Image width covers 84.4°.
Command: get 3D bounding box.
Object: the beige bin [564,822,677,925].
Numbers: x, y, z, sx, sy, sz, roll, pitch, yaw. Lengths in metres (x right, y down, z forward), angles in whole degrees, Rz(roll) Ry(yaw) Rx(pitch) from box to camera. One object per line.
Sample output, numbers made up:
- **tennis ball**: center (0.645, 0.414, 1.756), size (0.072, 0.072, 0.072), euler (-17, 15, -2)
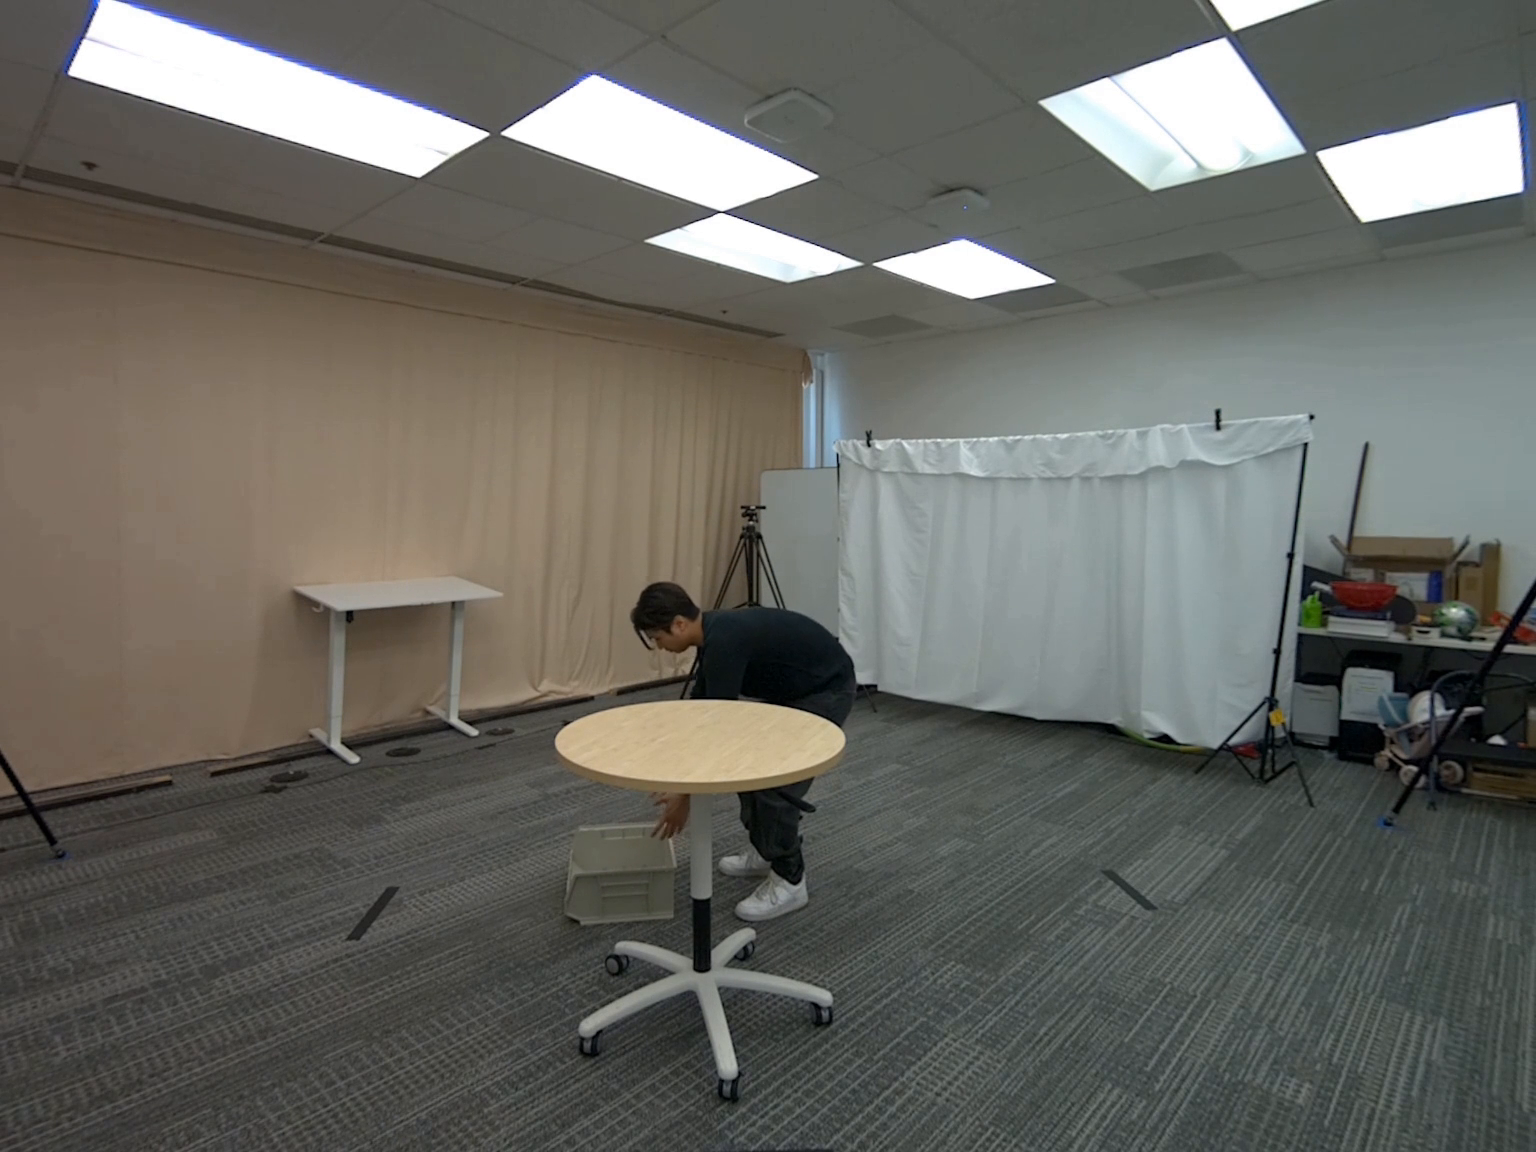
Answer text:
- **beige bin**: center (-0.531, 1.063, 3.024), size (0.374, 0.188, 0.427), euler (-1, 4, -9)
